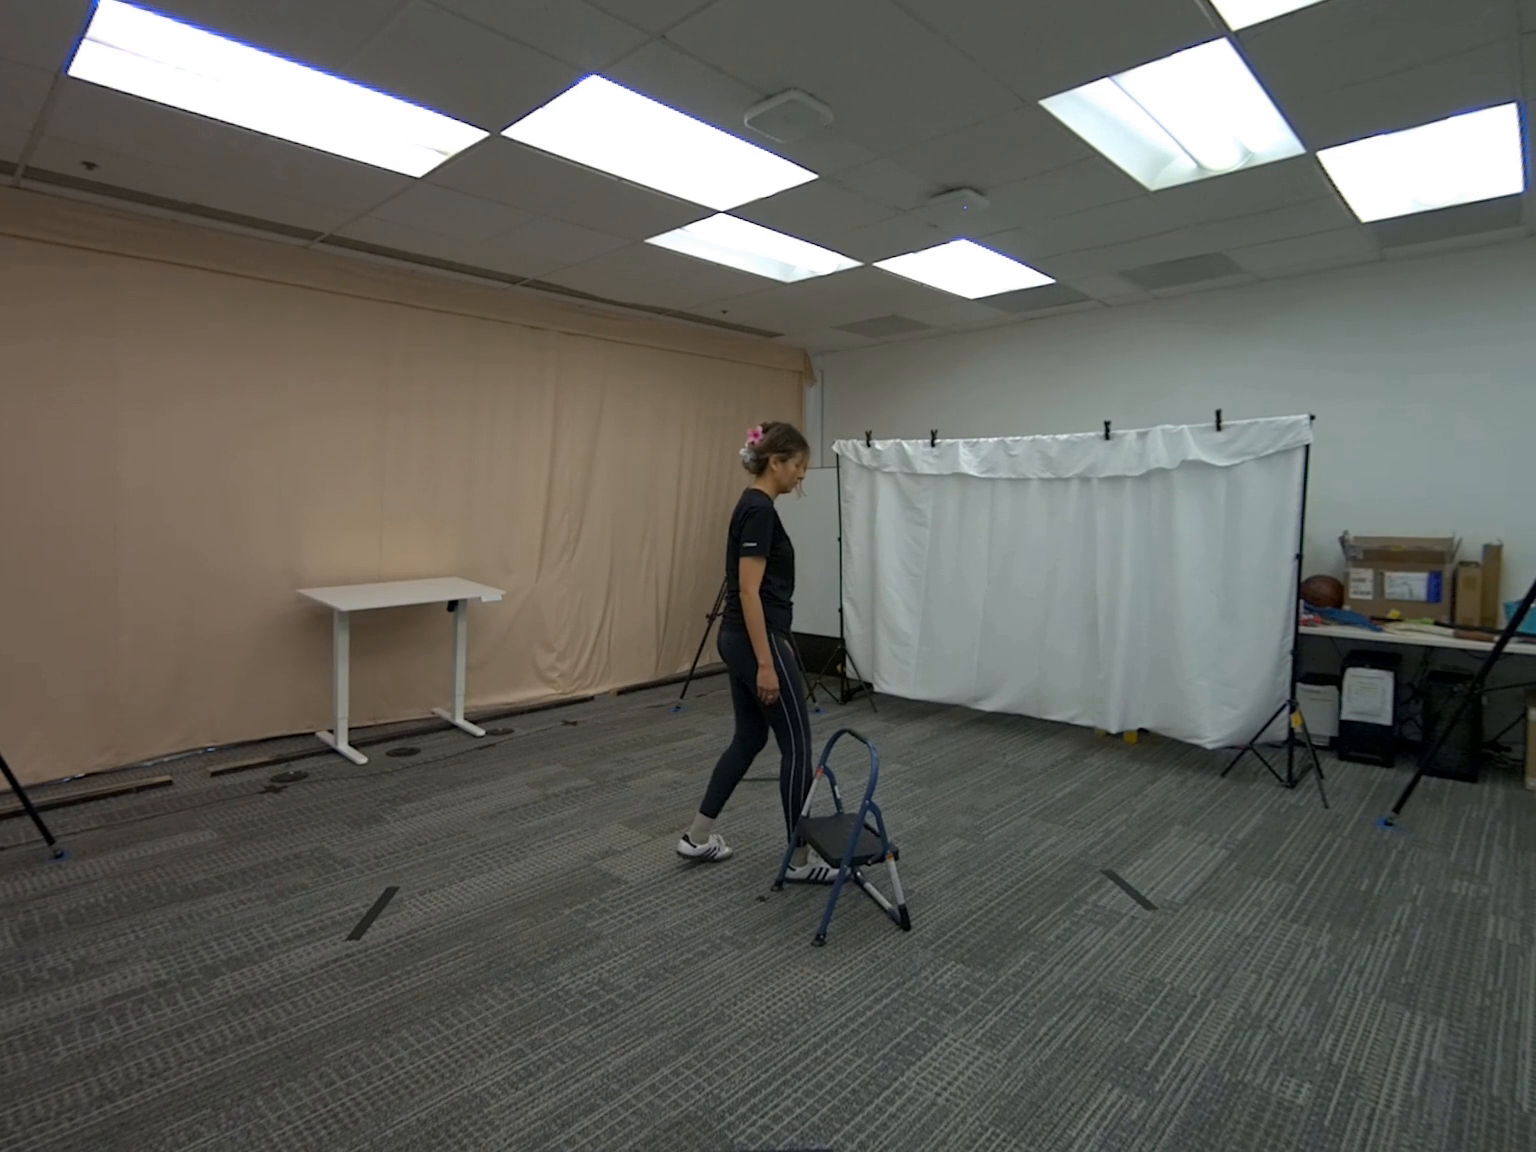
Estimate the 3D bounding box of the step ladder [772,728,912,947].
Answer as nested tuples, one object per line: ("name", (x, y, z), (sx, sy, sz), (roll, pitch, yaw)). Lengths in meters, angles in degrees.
("step ladder", (0.252, 0.845, 2.885), (0.343, 0.605, 0.439), (-1, 4, -18))
